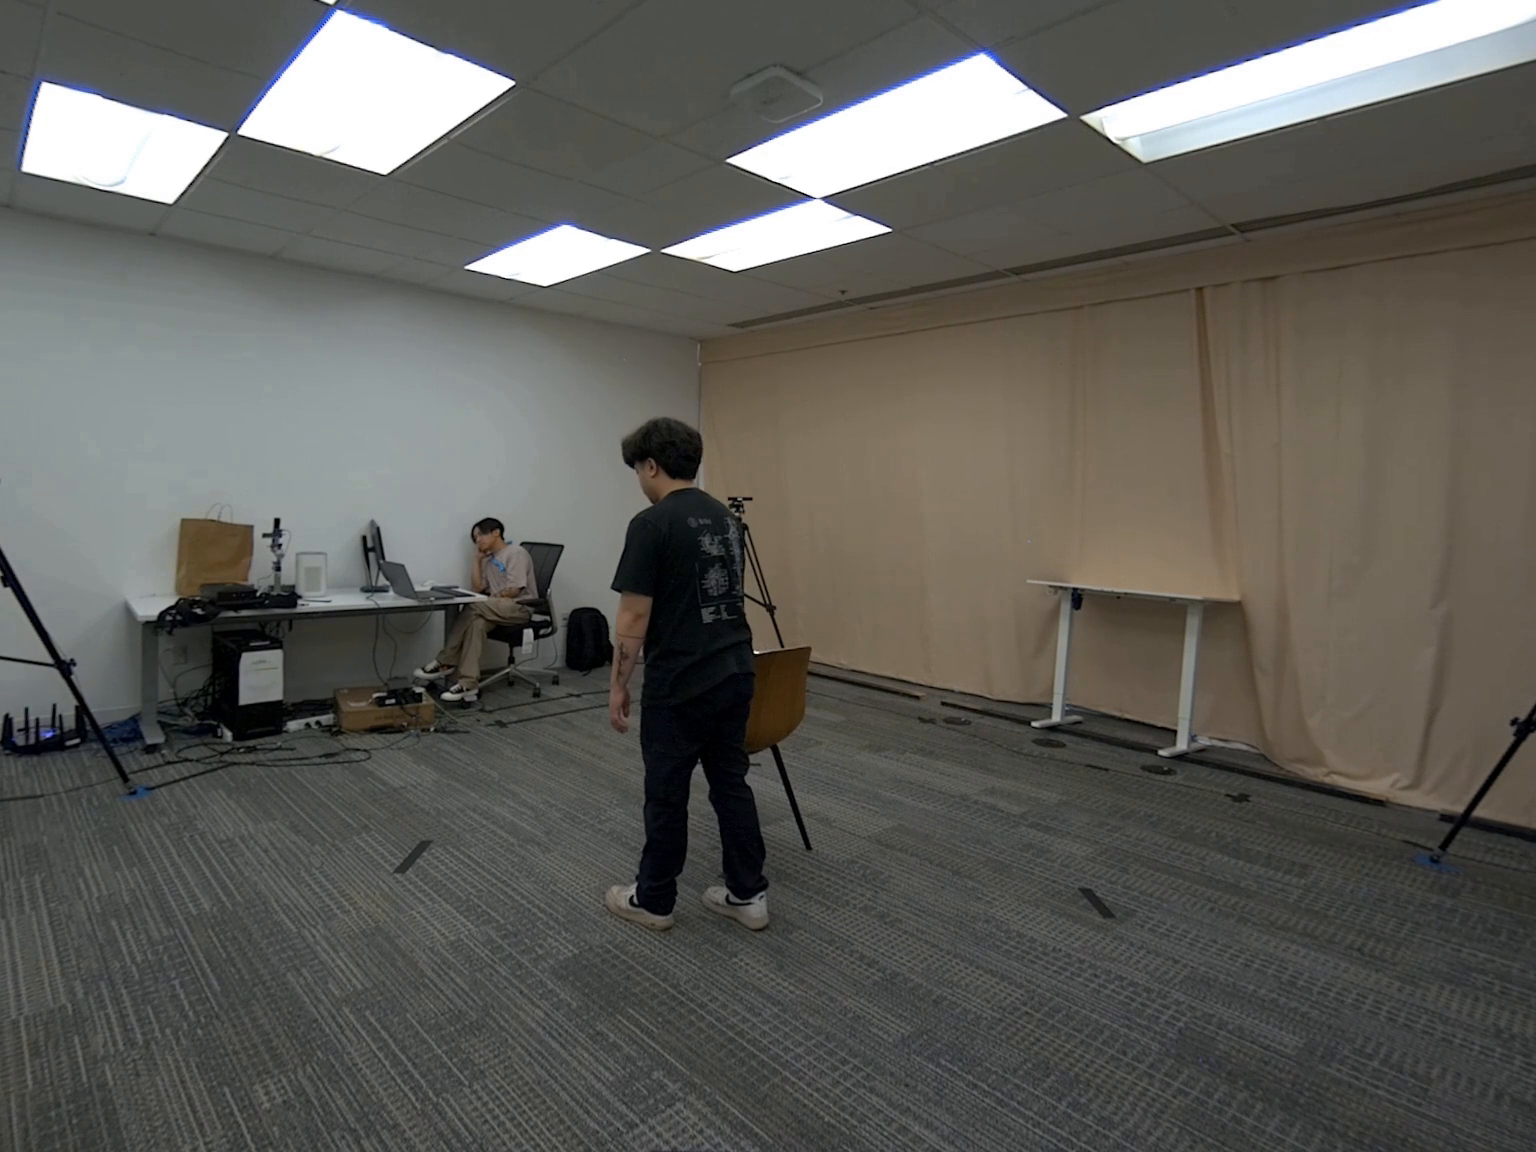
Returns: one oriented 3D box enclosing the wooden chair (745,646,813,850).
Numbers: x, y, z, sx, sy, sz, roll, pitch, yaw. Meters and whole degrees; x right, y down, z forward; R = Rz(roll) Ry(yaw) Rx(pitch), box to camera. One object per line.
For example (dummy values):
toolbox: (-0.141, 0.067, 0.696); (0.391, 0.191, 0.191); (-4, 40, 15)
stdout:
wooden chair: (-0.141, 0.662, 3.336); (0.537, 0.873, 0.467); (10, 9, 43)
